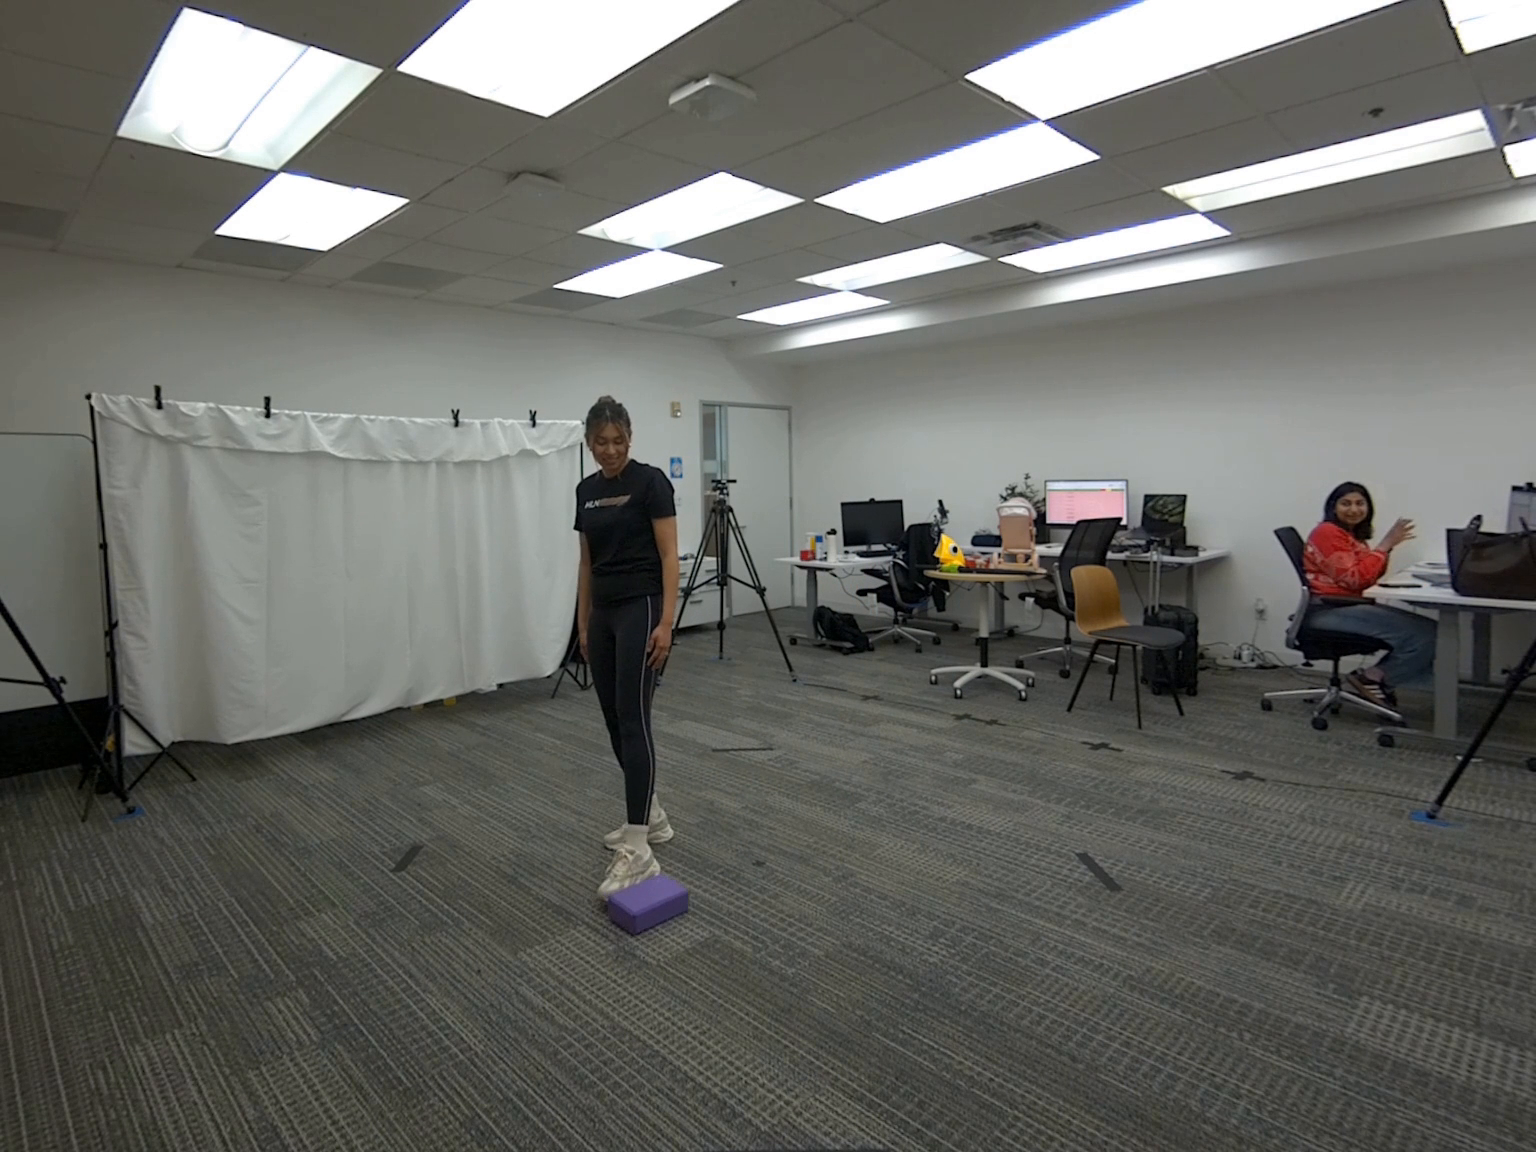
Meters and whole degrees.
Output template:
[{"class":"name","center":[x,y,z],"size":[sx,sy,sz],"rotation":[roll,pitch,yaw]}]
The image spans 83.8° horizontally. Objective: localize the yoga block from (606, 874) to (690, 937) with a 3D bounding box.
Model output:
[{"class":"yoga block","center":[-0.380,1.050,2.753],"size":[0.223,0.076,0.154],"rotation":[-6,12,-44]}]
